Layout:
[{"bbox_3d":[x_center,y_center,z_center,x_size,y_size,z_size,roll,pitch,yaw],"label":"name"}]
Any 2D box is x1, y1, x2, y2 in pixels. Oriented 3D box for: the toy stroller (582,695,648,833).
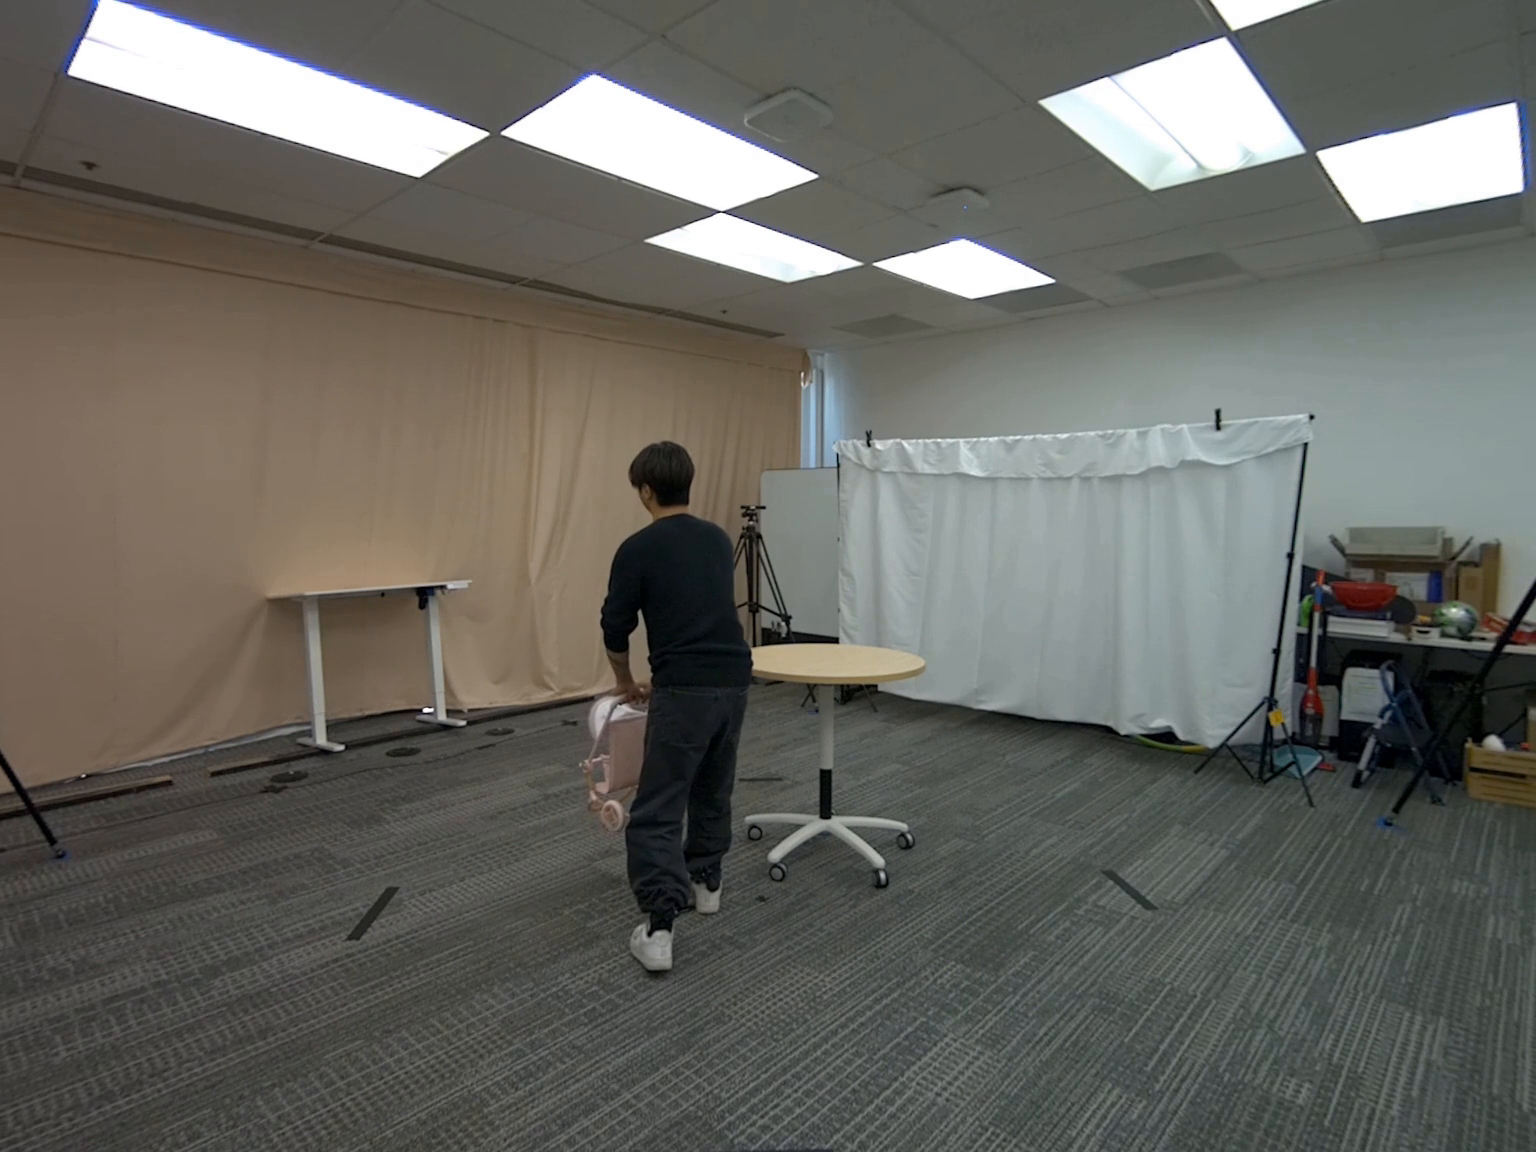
[{"bbox_3d":[-0.541,0.686,3.087,0.273,0.535,0.351,-5,-1,-41],"label":"toy stroller"}]
